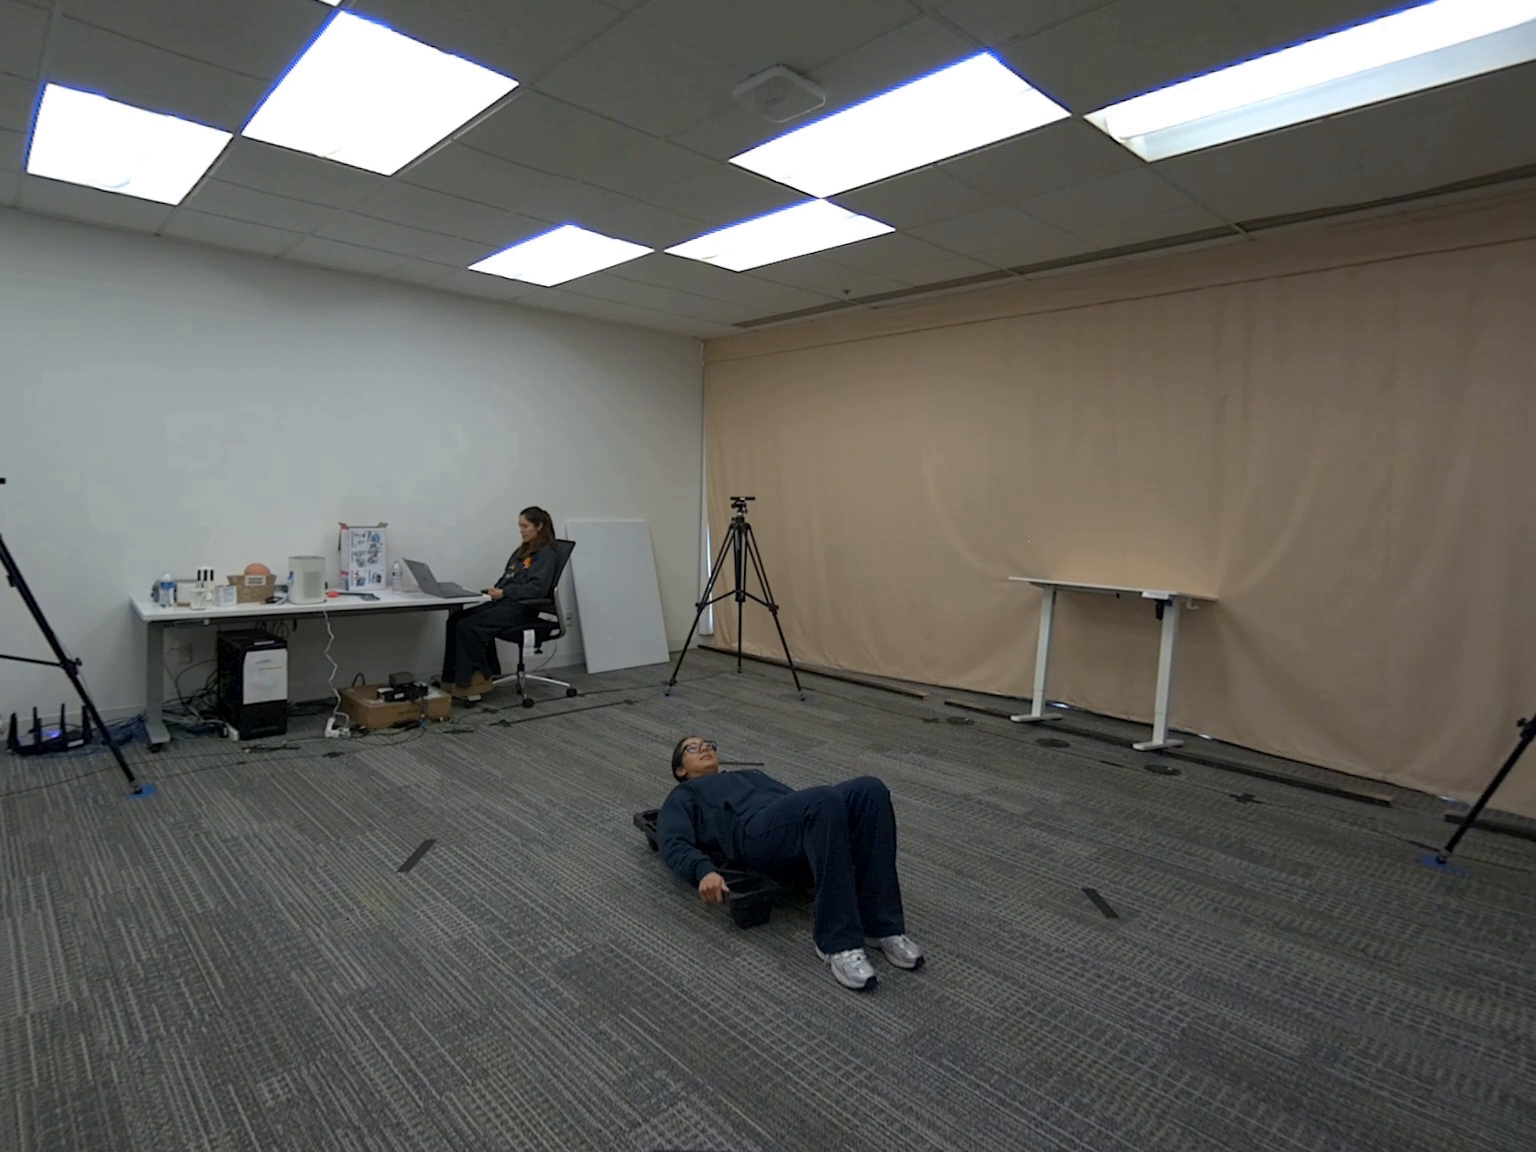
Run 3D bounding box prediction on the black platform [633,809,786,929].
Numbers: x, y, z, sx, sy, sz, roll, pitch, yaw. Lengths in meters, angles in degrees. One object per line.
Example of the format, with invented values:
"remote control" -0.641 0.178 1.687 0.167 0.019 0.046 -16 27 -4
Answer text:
"black platform" -0.080 1.041 3.155 0.593 0.143 0.824 -3 7 -31
